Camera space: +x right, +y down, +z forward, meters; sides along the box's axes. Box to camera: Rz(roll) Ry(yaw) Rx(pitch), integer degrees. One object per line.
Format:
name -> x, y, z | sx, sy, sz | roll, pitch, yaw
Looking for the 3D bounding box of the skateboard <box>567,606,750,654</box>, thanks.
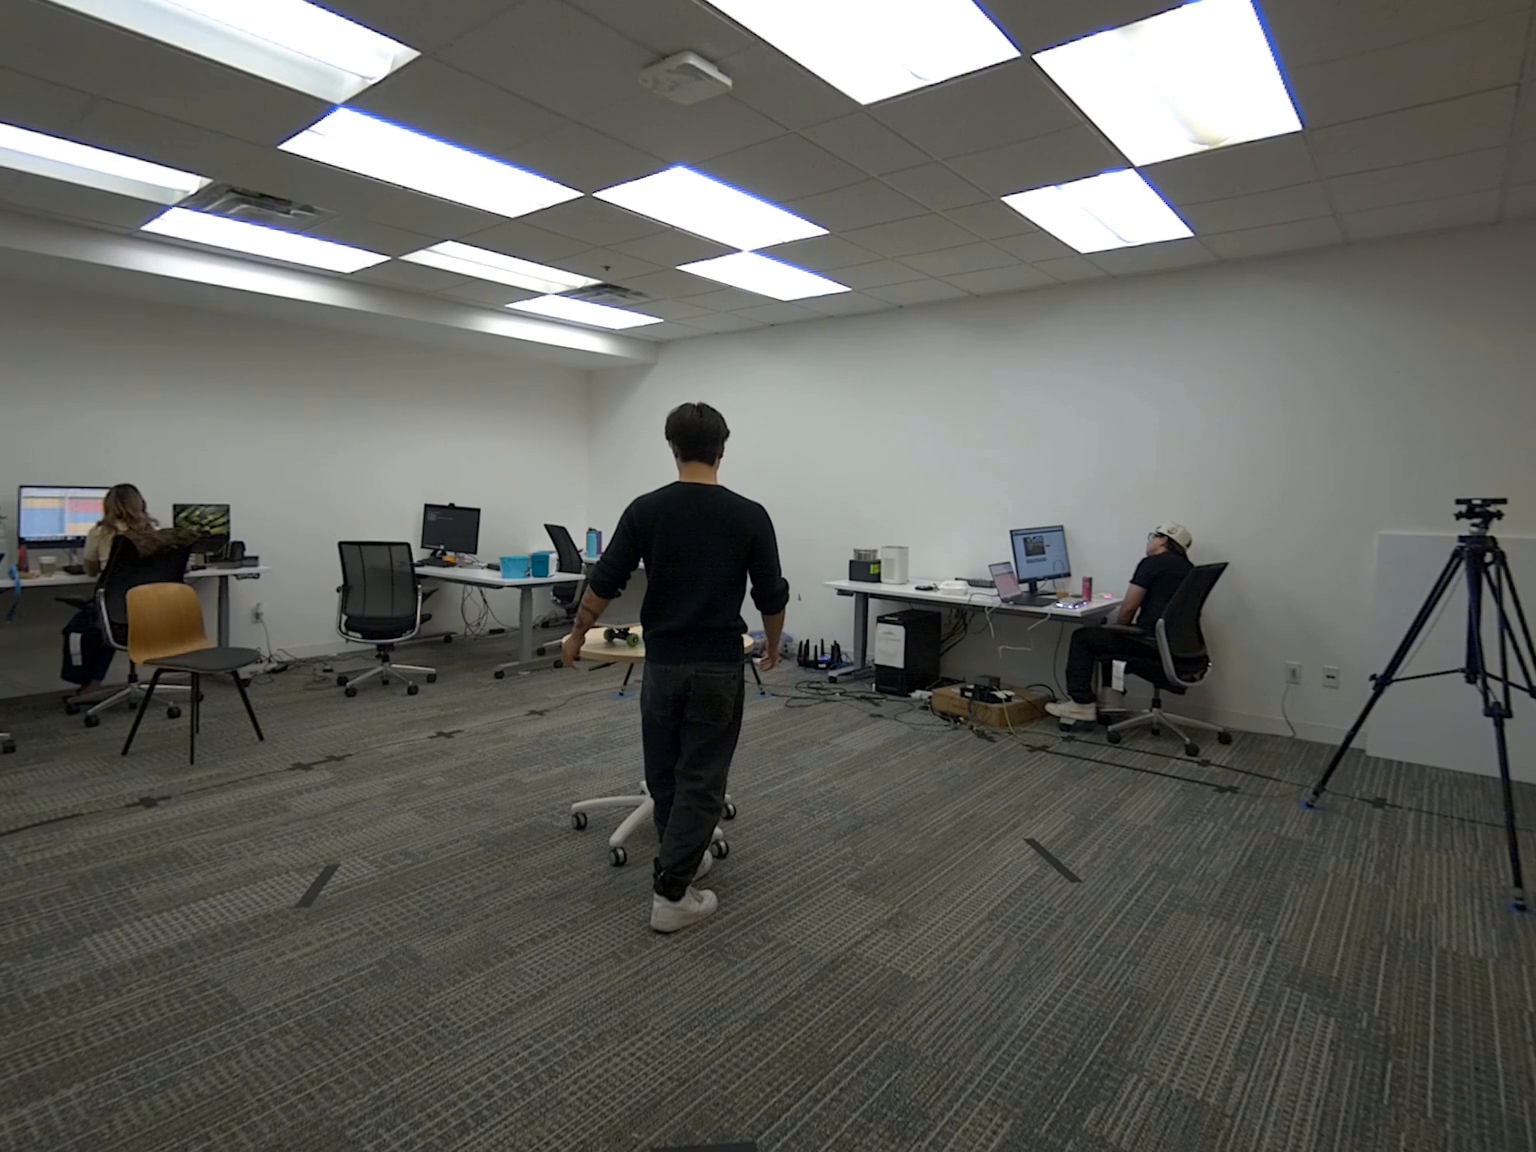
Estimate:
skateboard -> -0.429, 0.201, 3.432 | 0.762, 0.110, 0.200 | -4, 7, -44
